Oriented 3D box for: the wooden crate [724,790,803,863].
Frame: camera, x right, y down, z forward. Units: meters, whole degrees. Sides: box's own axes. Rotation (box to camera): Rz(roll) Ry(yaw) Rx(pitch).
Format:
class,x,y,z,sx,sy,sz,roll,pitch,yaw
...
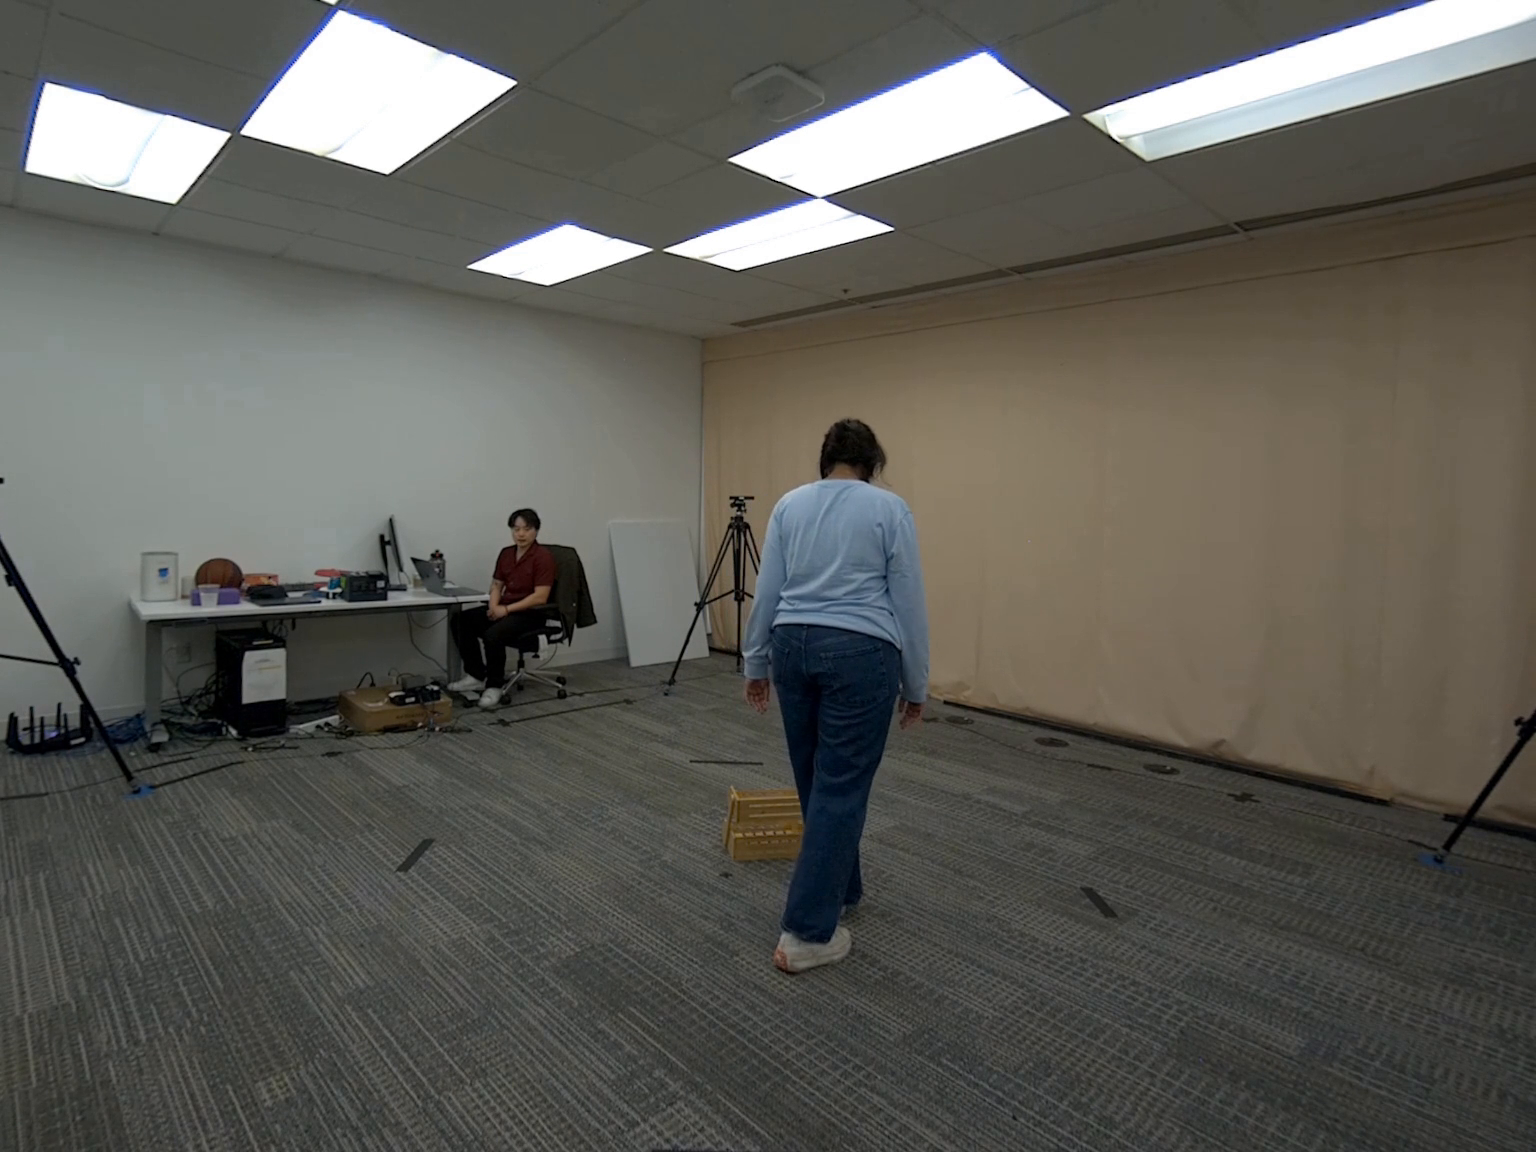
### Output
class,x,y,z,sx,sy,sz,roll,pitch,yaw
wooden crate,-0.019,0.956,3.352,0.321,0.273,0.305,1,2,-13
